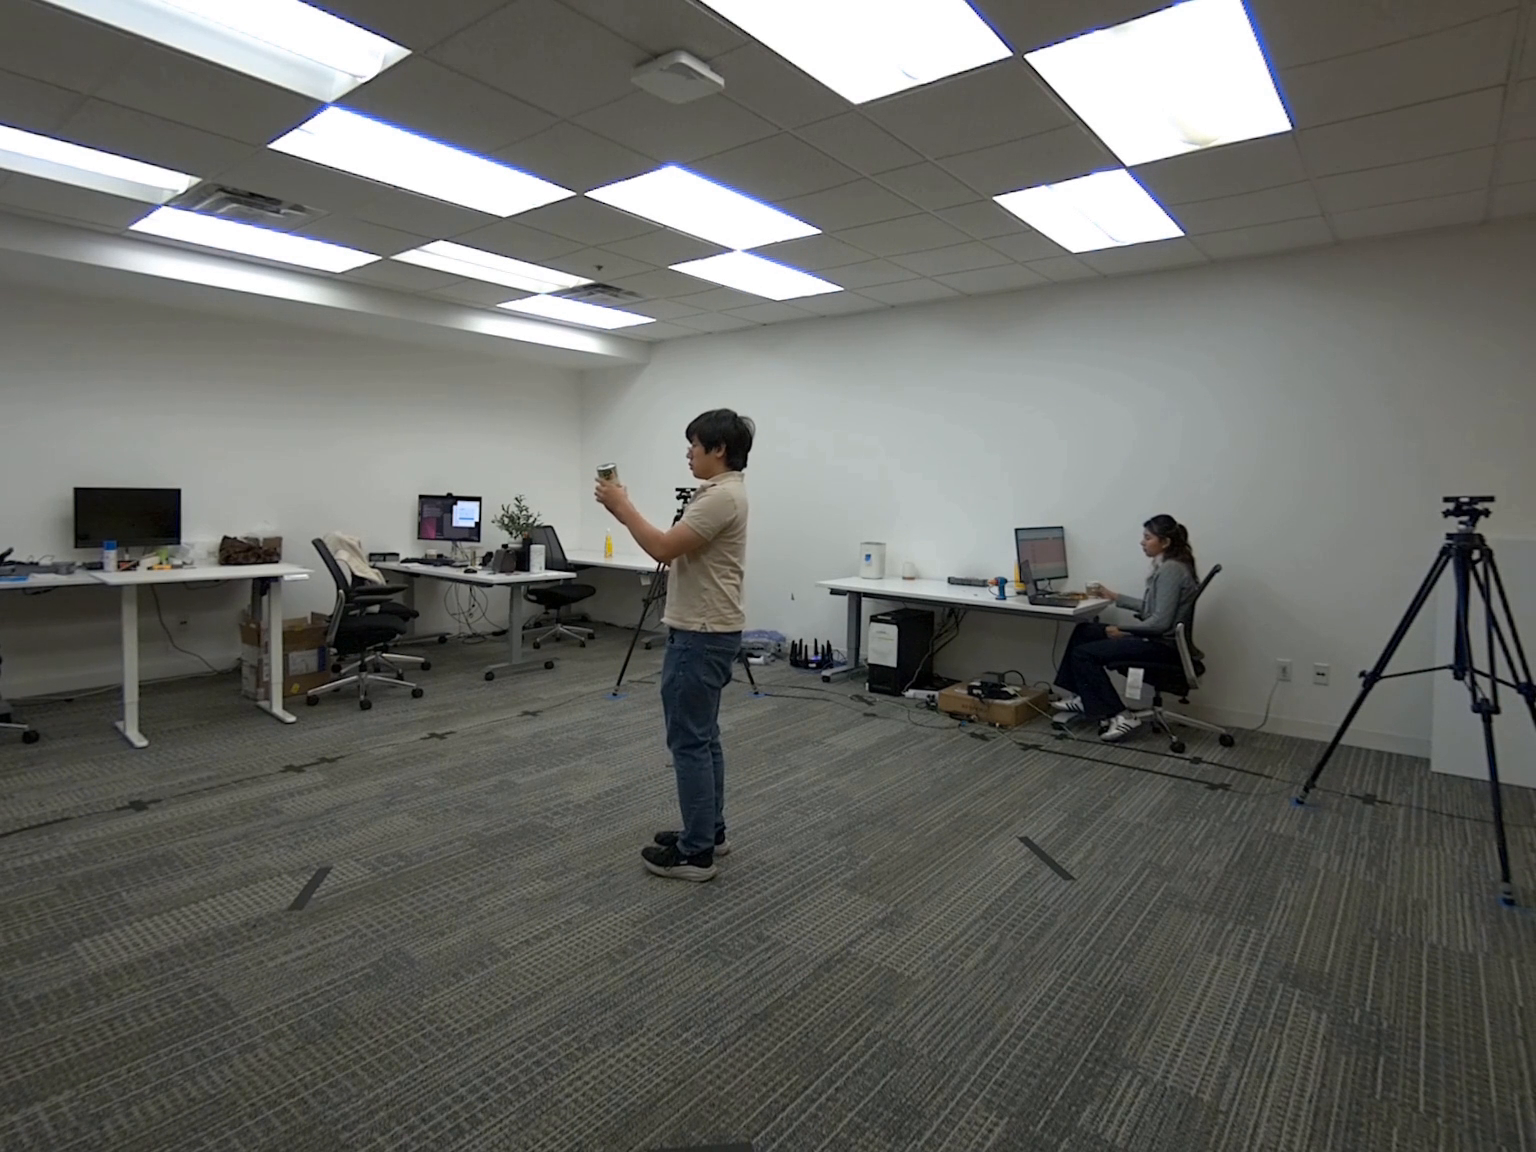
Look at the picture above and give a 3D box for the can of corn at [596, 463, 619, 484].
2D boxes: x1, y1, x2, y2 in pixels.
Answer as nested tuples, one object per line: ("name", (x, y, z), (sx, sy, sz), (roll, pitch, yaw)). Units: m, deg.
("can of corn", (-0.592, -0.357, 3.132), (0.074, 0.109, 0.075), (-9, 20, 2))
